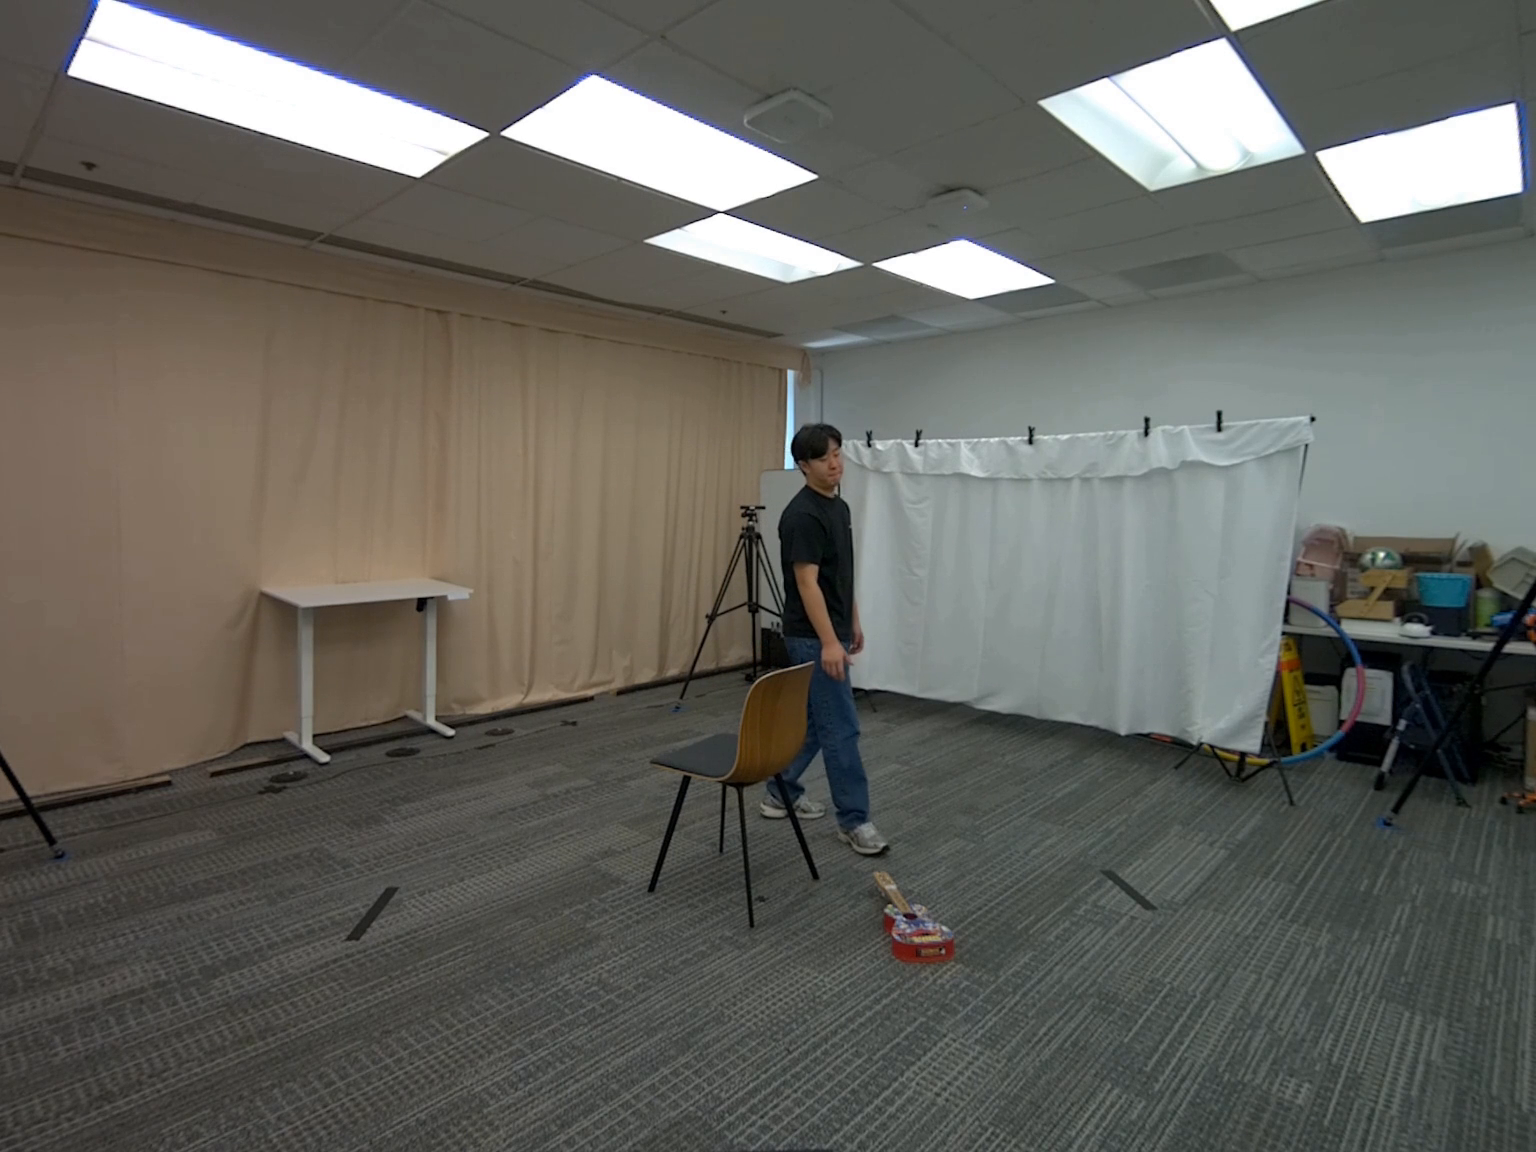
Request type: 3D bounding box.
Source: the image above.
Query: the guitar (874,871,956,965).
[{"bbox_3d":[0.477,1.117,2.807,0.193,0.070,0.499,-1,5,-1],"label":"guitar"}]
